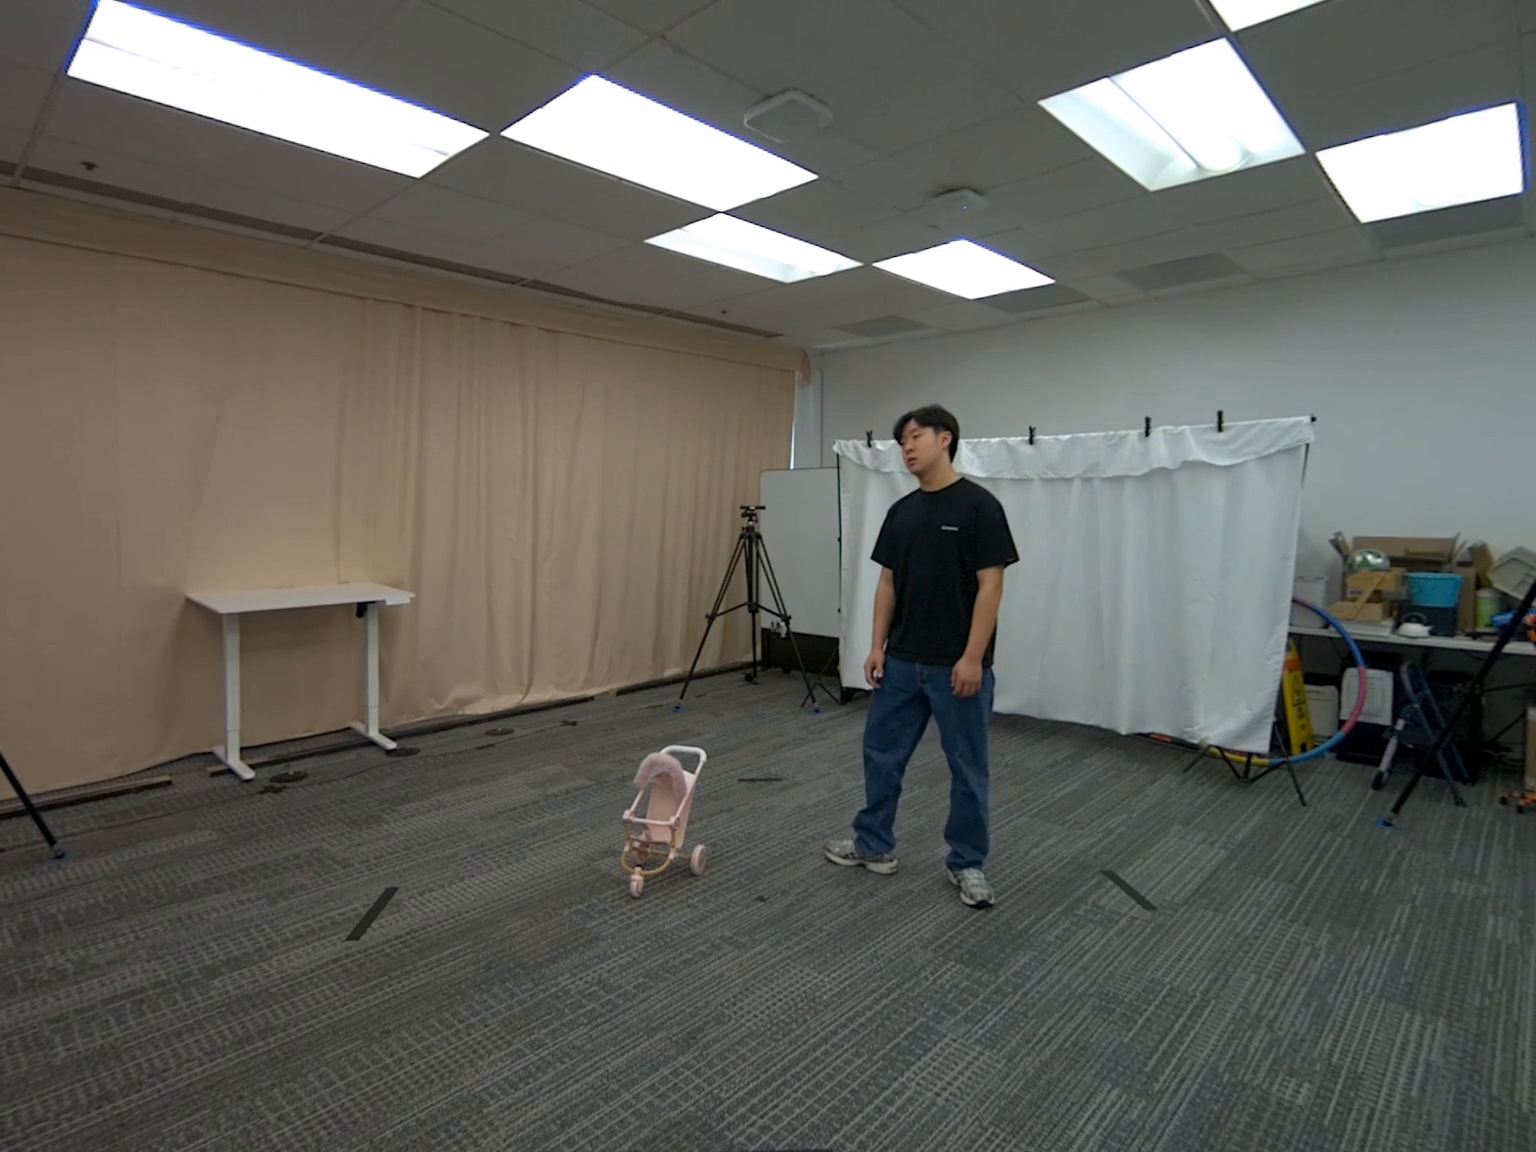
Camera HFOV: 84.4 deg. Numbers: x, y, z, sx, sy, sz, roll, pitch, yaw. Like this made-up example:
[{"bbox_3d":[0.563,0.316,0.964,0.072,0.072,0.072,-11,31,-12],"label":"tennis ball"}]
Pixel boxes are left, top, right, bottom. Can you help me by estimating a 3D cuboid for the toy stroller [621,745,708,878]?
[{"bbox_3d":[-0.404,0.910,3.172,0.289,0.538,0.330,0,-14,26],"label":"toy stroller"}]
